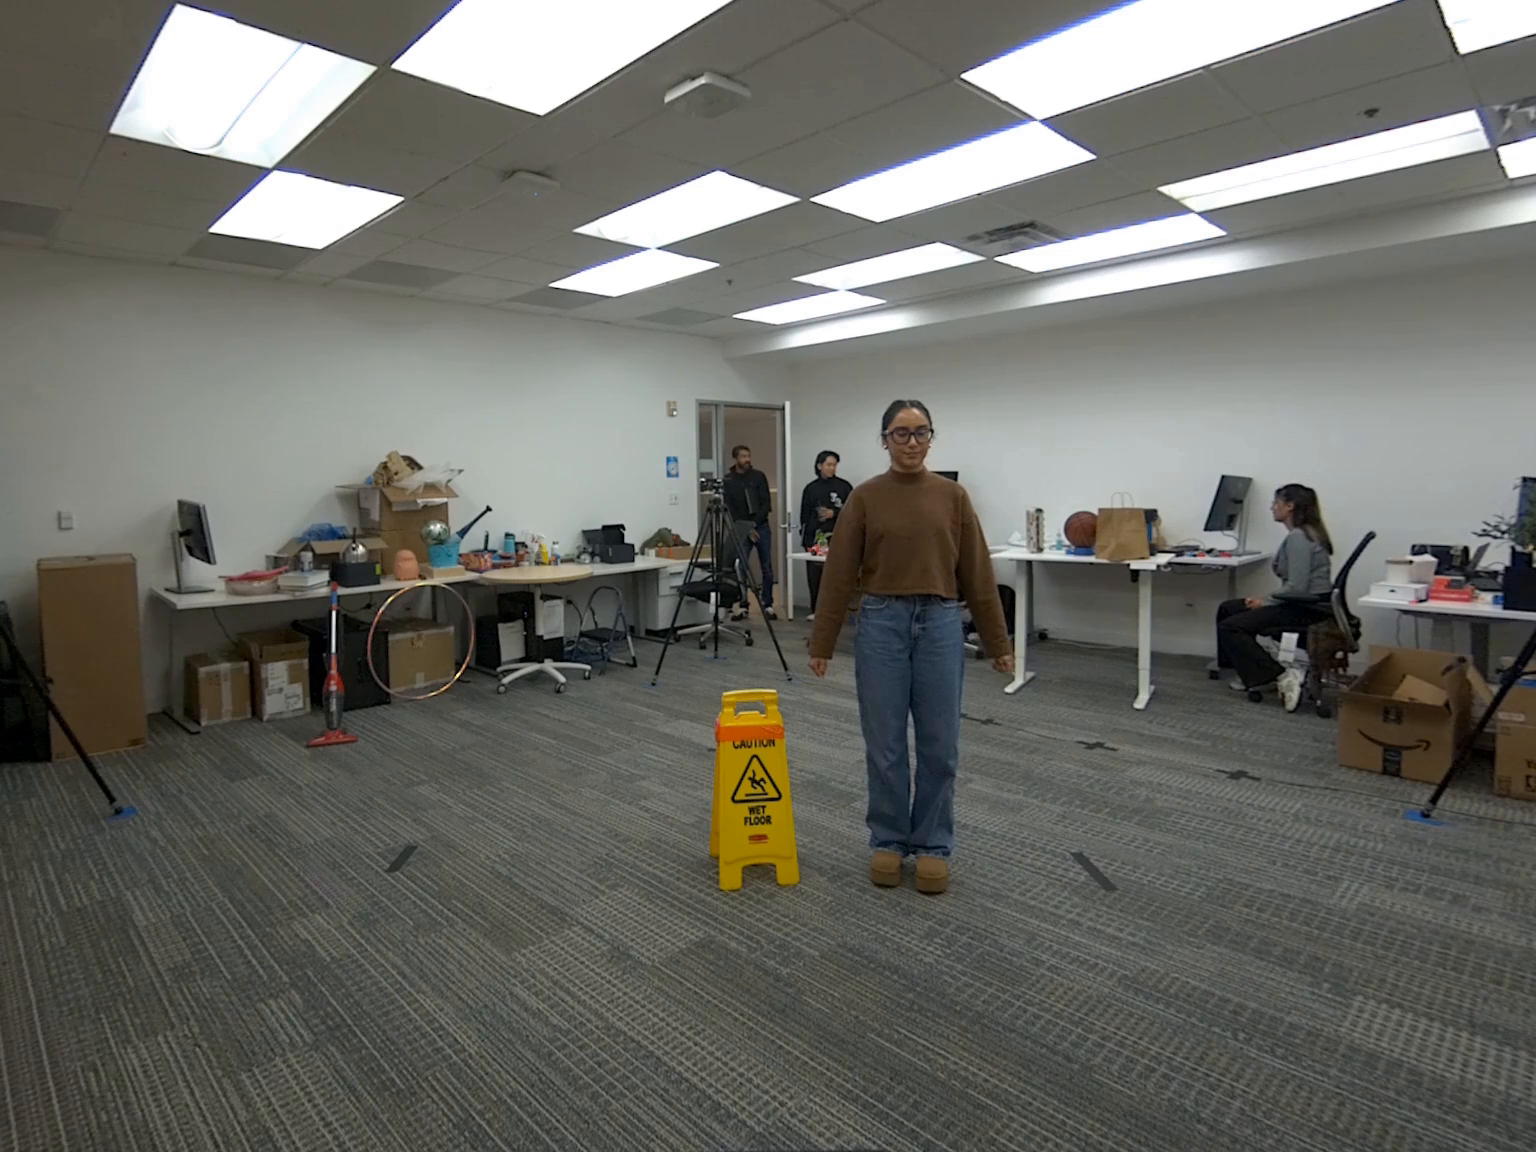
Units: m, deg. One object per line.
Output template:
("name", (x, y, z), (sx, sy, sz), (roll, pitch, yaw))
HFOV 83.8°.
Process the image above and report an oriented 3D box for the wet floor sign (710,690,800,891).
("wet floor sign", (-0.057, 0.726, 3.037), (0.280, 0.644, 0.293), (-2, 4, -10))
